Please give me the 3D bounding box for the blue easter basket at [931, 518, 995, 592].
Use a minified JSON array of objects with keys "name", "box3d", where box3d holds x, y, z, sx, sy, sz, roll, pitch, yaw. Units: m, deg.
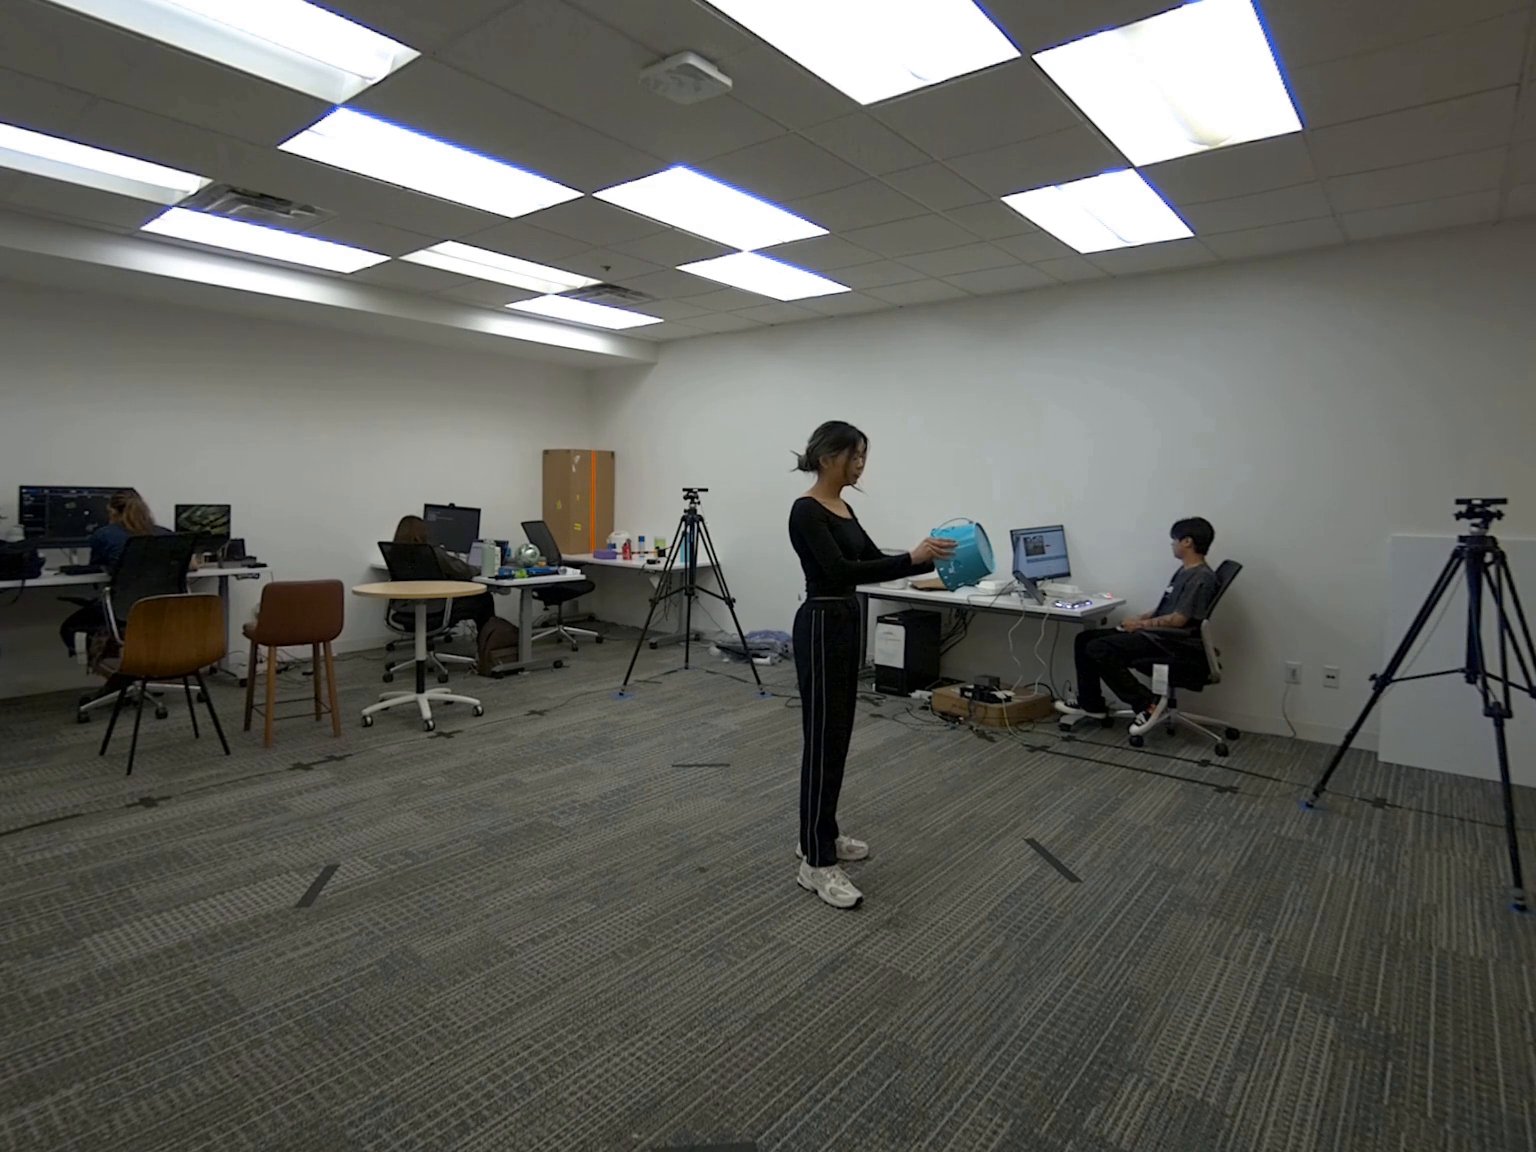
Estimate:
[{"name":"blue easter basket","box3d":[0.673,-0.074,2.943,0.158,0.245,0.238,-19,-6,27]}]
